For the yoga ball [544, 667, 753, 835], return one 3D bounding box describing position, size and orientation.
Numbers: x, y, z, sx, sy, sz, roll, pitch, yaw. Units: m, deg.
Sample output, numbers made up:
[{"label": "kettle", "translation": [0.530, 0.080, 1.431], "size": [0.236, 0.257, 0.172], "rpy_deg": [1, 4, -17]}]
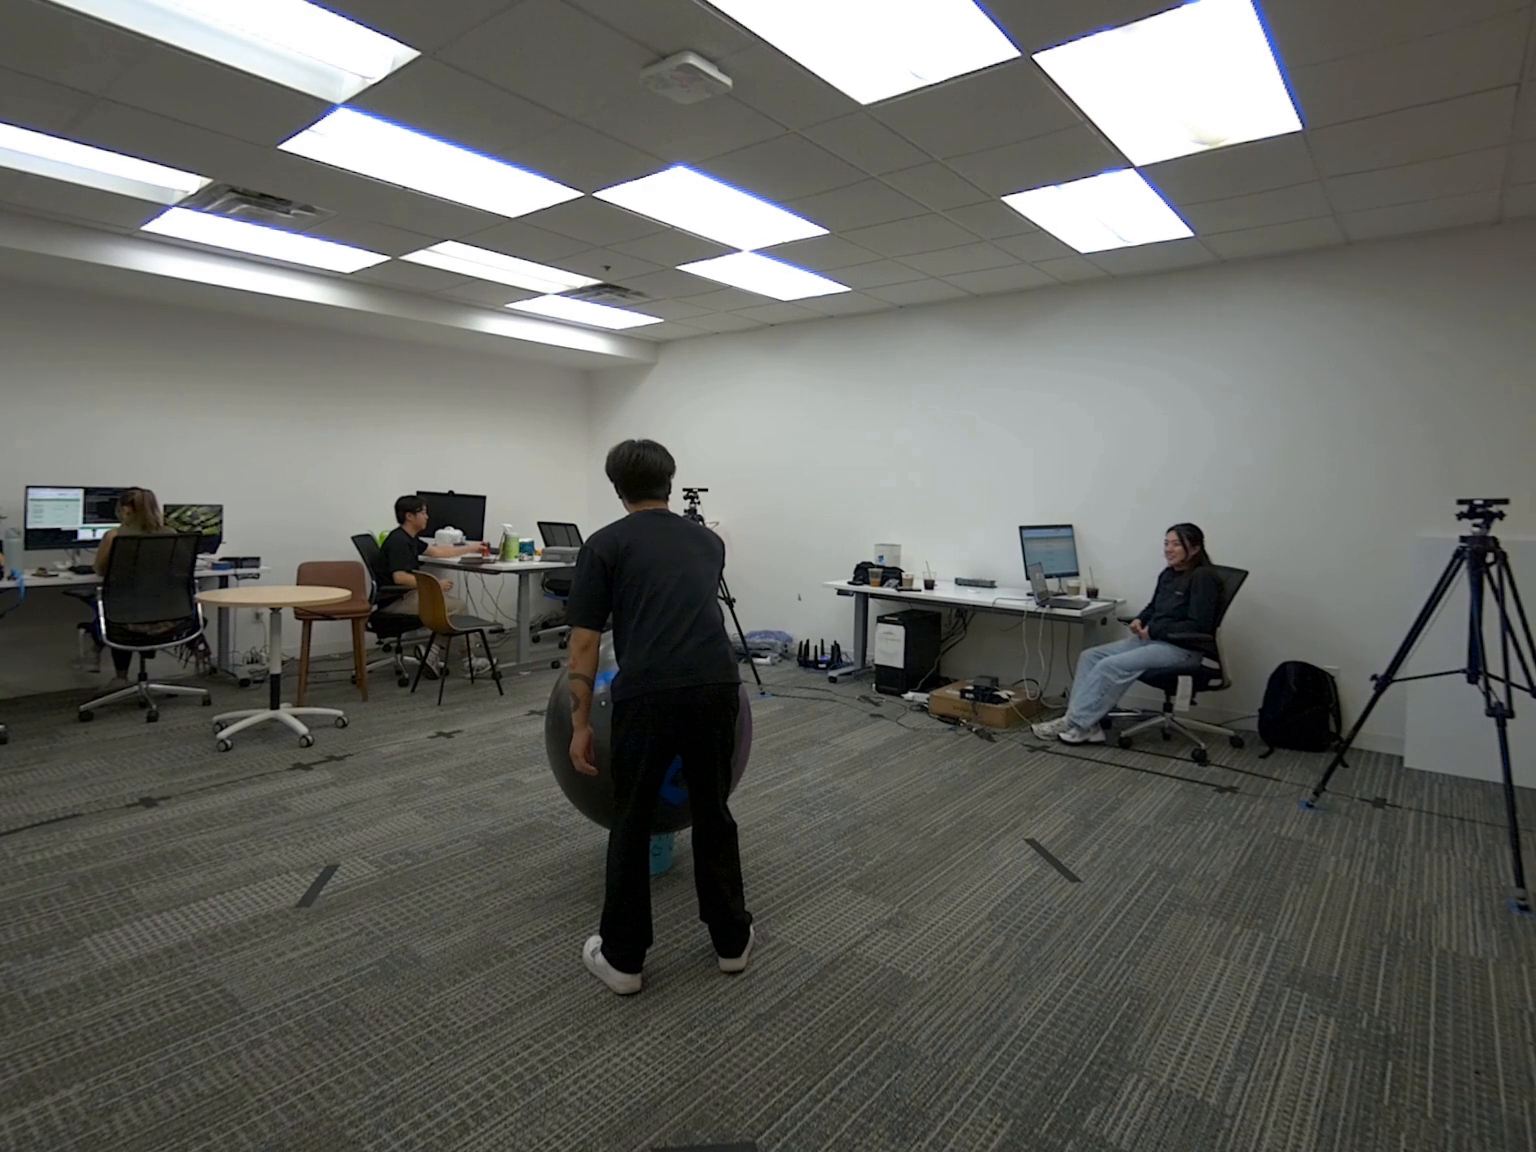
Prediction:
[{"label": "yoga ball", "translation": [-0.444, 0.556, 3.136], "size": [0.757, 0.756, 0.762], "rpy_deg": [1, 4, -2]}]
